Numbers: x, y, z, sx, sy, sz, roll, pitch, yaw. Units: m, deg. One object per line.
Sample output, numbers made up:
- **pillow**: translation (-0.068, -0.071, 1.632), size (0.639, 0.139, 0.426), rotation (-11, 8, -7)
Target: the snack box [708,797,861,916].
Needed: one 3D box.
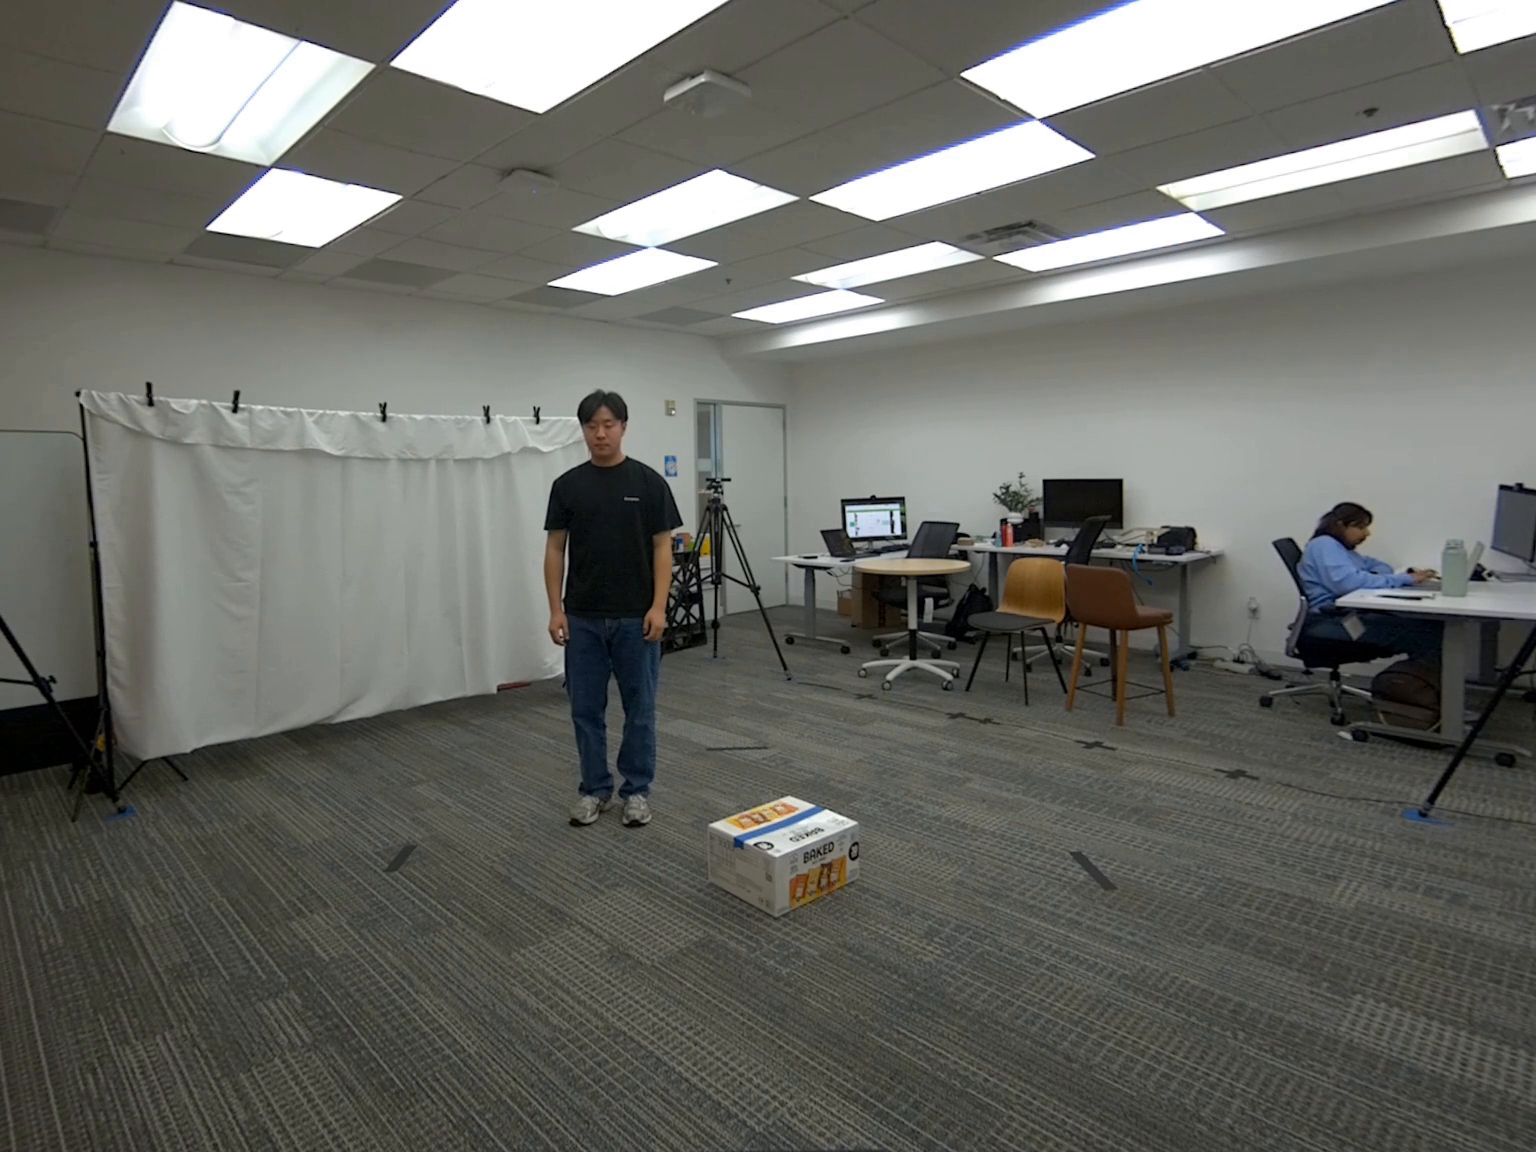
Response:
- **snack box**: translation (0.057, 0.957, 2.954), size (0.394, 0.205, 0.351), rotation (-6, 7, -42)
